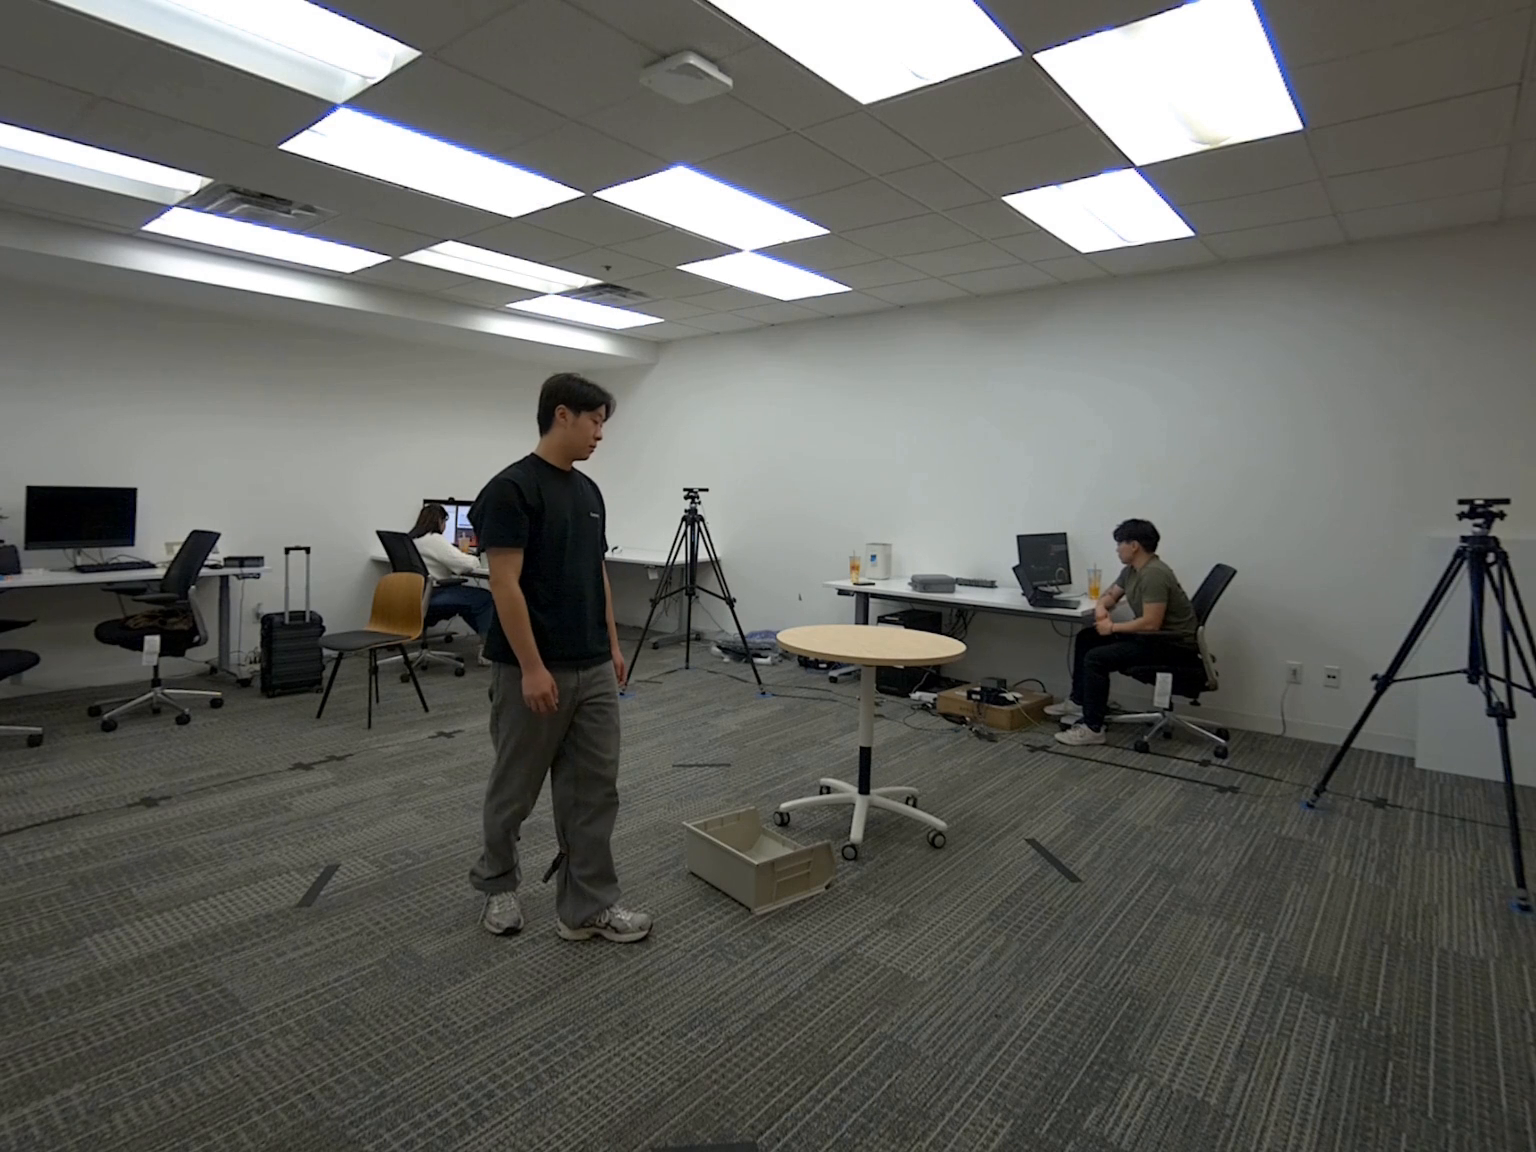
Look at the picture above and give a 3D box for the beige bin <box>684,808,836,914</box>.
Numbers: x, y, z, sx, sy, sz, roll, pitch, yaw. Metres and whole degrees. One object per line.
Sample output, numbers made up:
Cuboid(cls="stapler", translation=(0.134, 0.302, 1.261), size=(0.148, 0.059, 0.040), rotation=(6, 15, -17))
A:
Cuboid(cls="beige bin", translation=(-0.046, 0.989, 3.036), size=(0.366, 0.188, 0.437), rotation=(-4, 7, -39))
